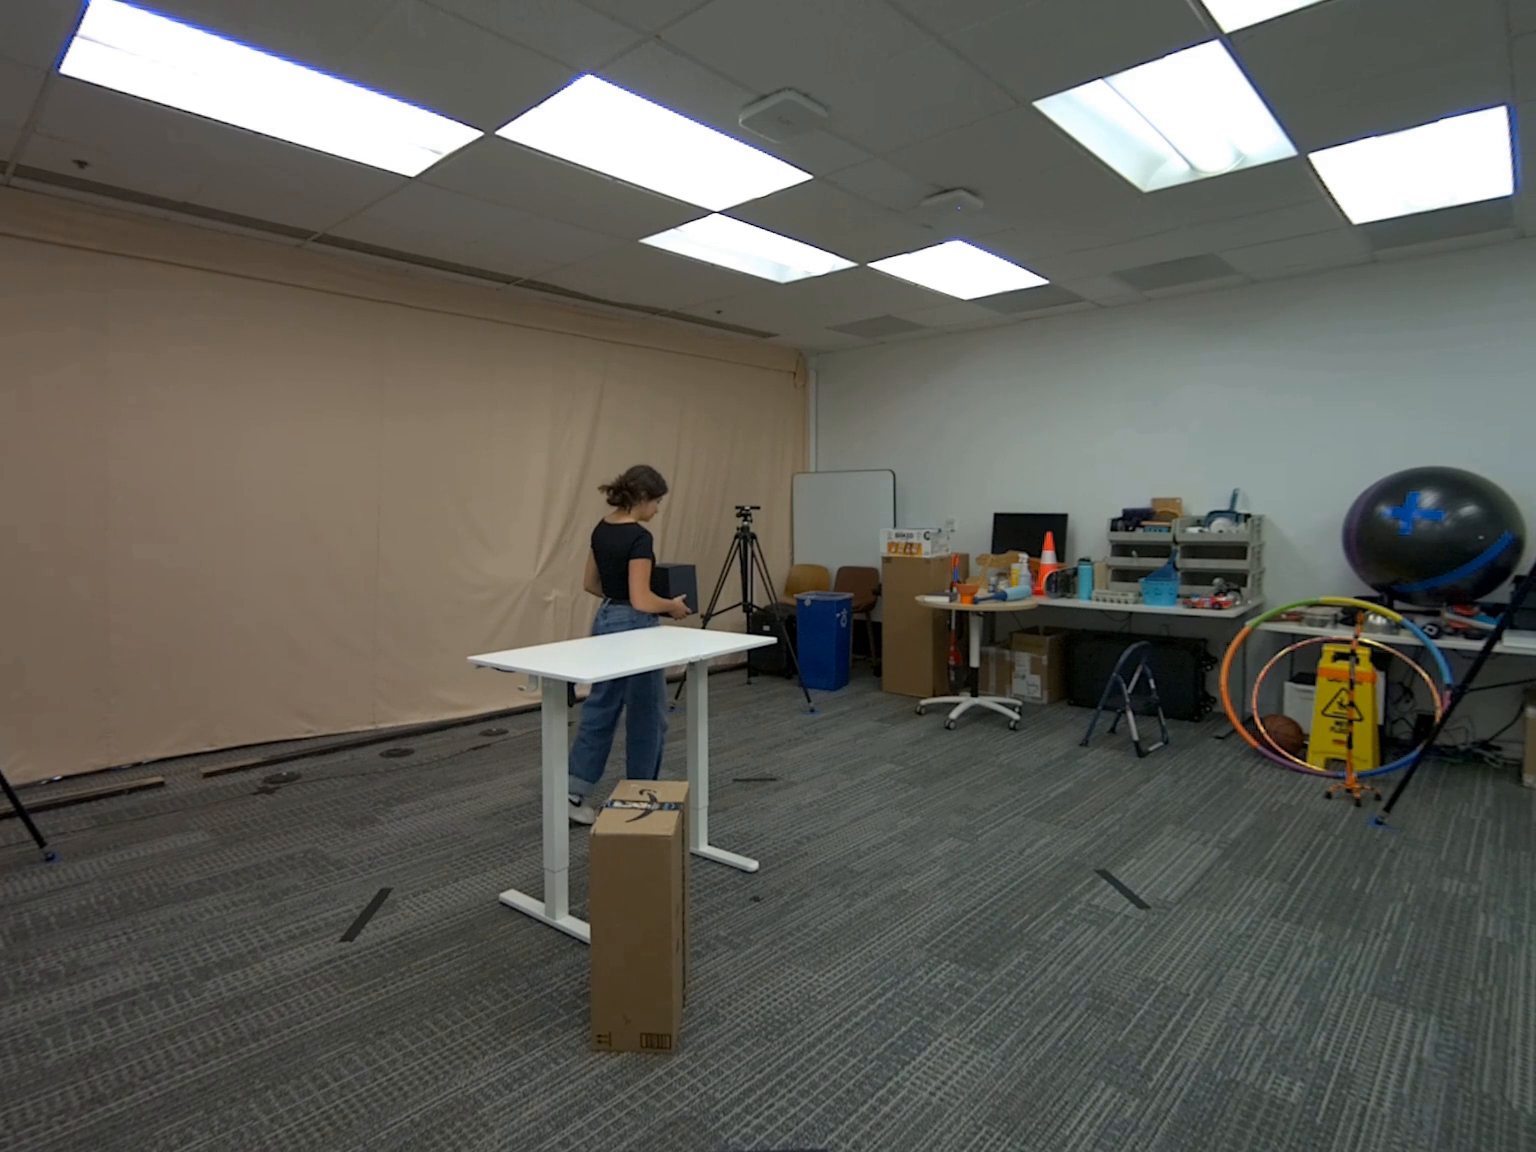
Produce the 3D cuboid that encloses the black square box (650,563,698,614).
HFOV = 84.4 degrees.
[{"bbox_3d":[-0.459,0.060,3.895,0.151,0.227,0.224,-7,6,-42],"label":"black square box"}]
